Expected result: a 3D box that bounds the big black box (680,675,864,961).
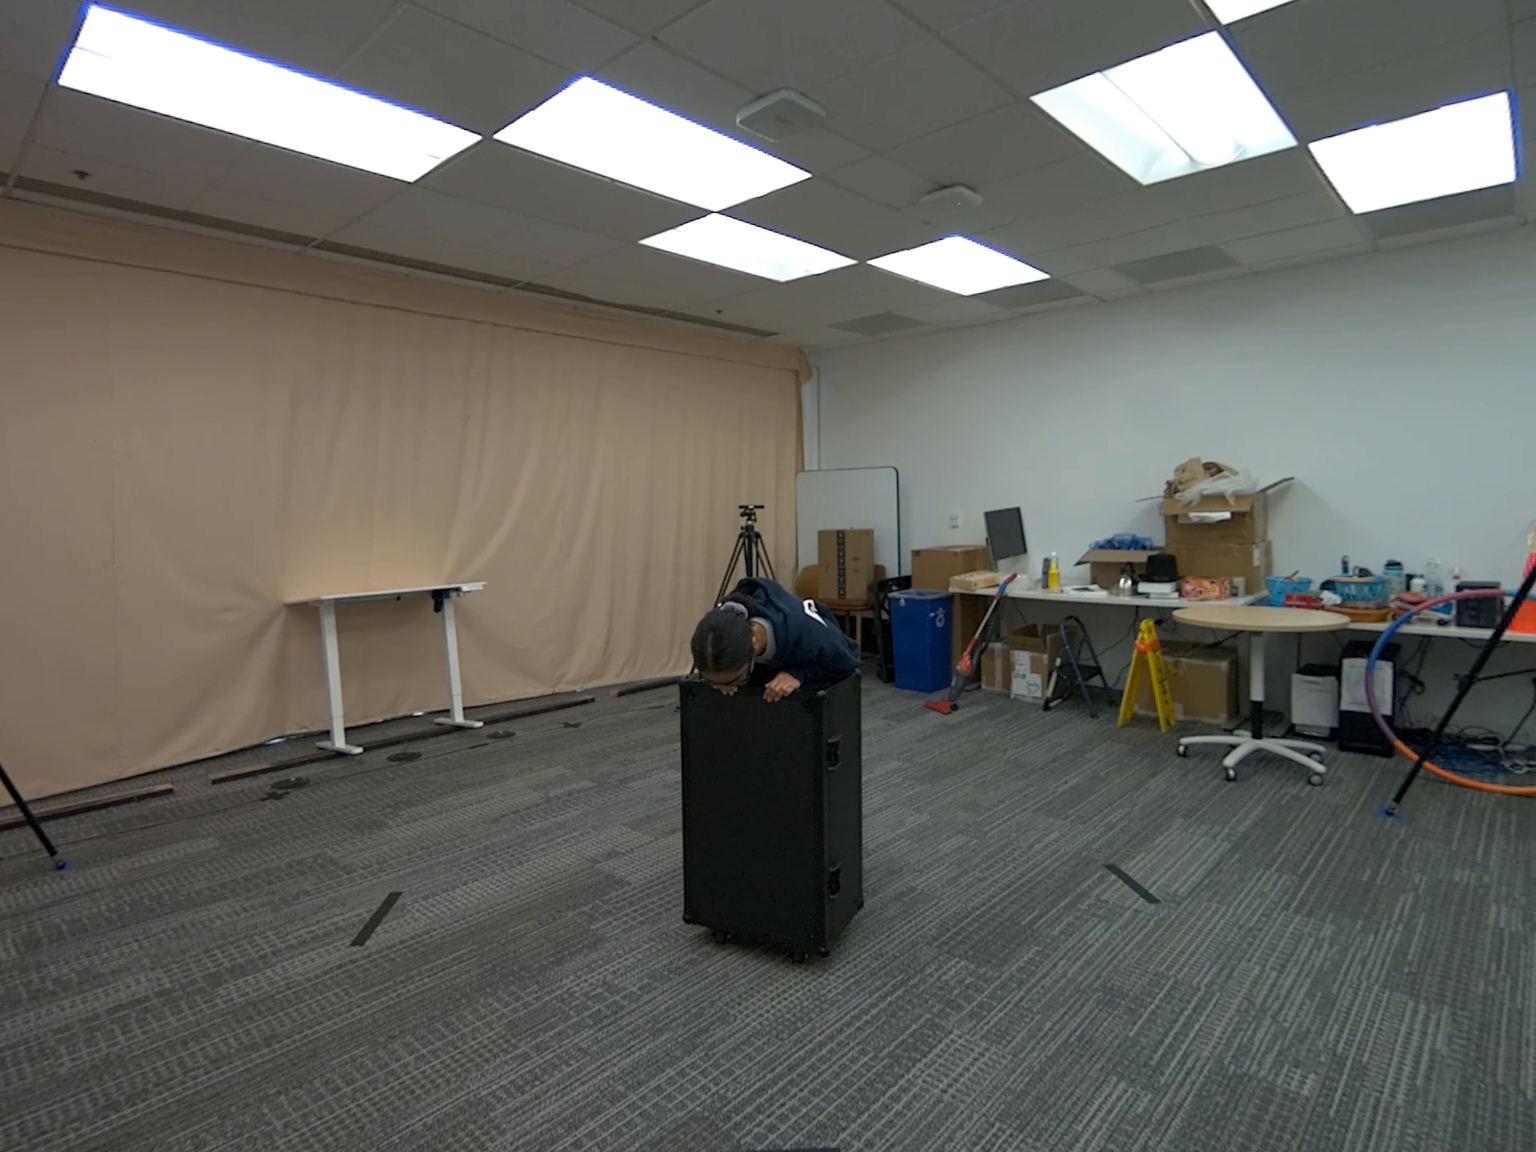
[{"bbox_3d":[0.017,0.744,2.711,0.535,0.860,0.386,0,3,27],"label":"big black box"}]
